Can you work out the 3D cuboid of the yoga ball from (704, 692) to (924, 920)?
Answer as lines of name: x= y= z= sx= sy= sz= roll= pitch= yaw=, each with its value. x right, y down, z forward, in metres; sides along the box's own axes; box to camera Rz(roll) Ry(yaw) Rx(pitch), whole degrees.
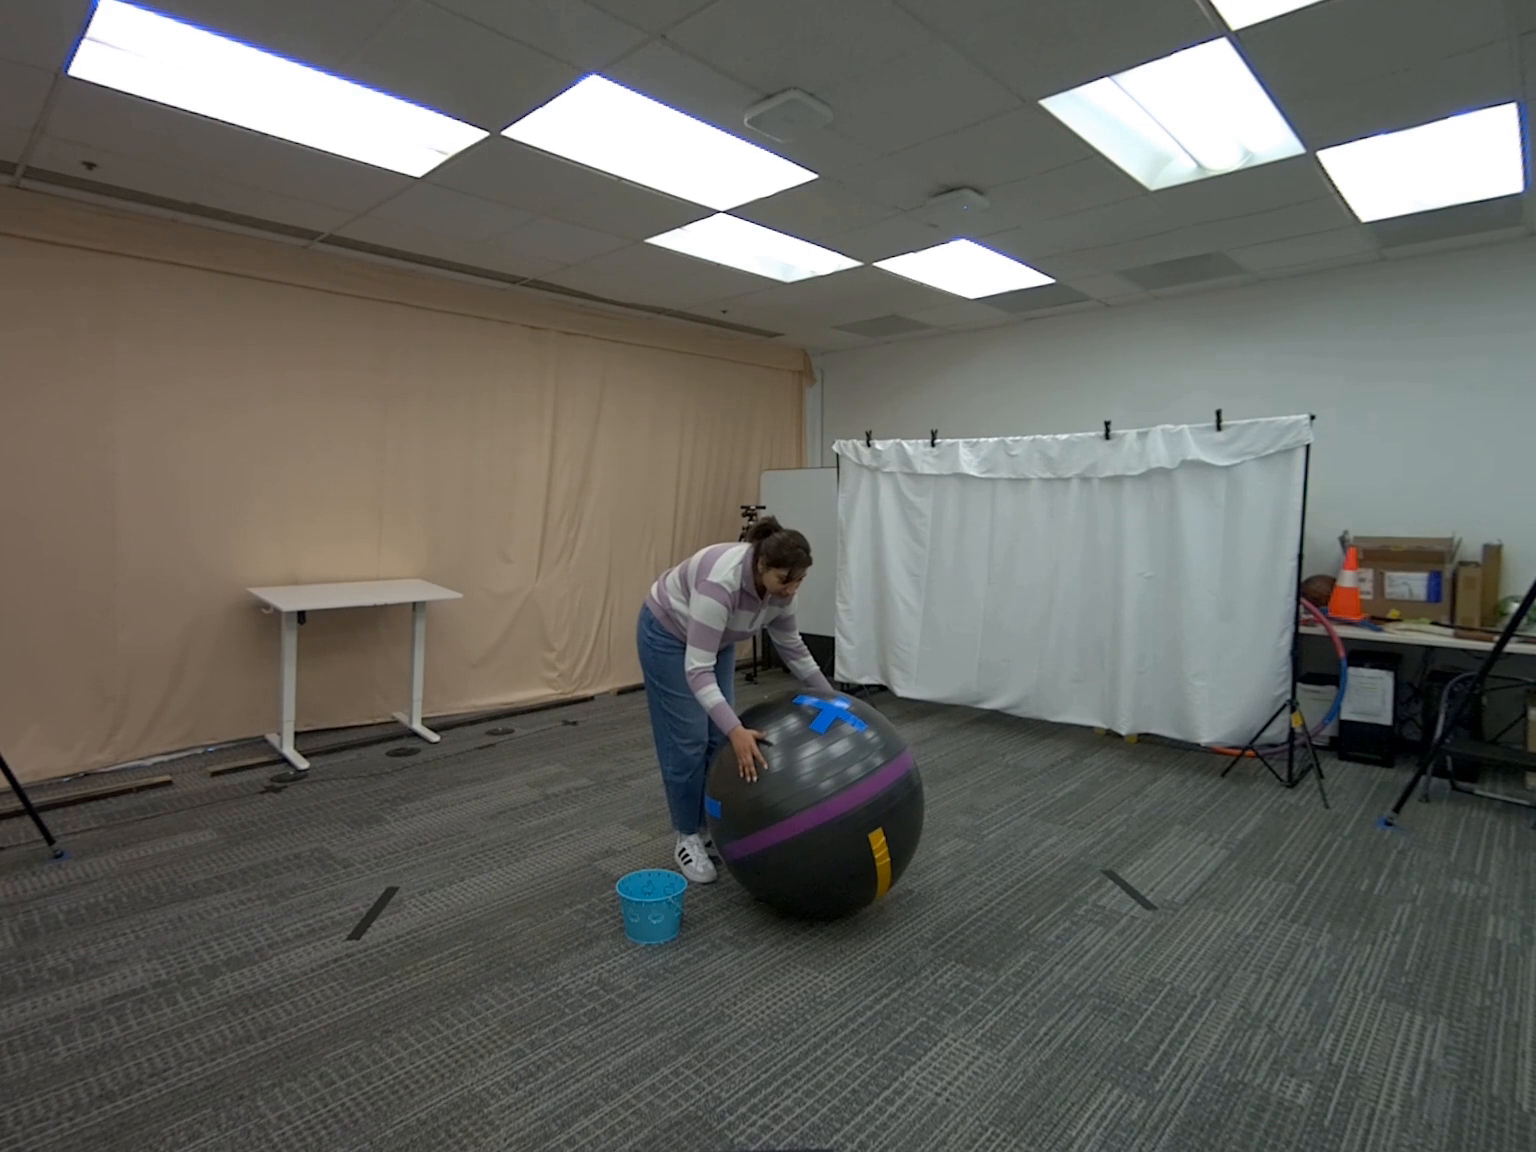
yoga ball: x=0.149 y=0.790 z=2.928 sx=0.757 sy=0.756 sz=0.760 roll=0 pitch=4 yaw=-2
